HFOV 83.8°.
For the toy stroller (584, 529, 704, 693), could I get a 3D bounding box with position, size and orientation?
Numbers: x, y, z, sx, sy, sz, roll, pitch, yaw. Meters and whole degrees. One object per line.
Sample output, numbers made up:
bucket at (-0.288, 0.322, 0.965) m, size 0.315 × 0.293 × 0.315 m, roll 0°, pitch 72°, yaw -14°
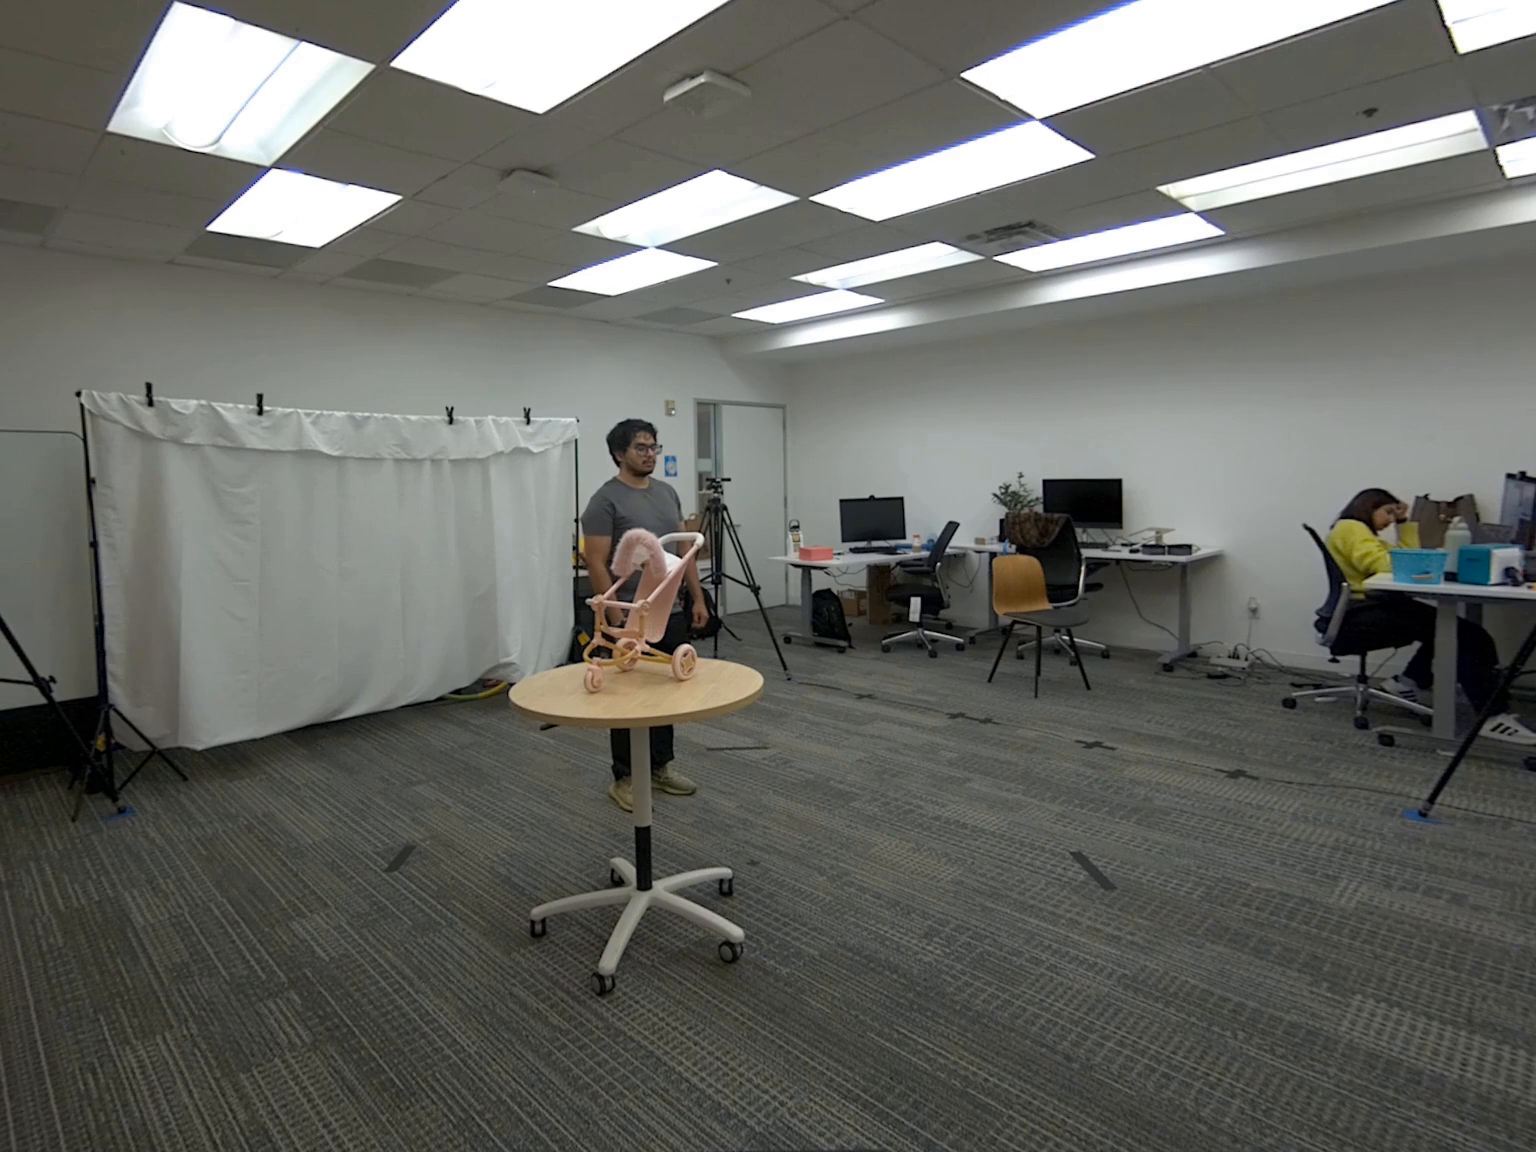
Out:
toy stroller at (-0.400, 0.098, 2.642) m, size 0.290 × 0.538 × 0.329 m, roll 1°, pitch -10°, yaw 42°
